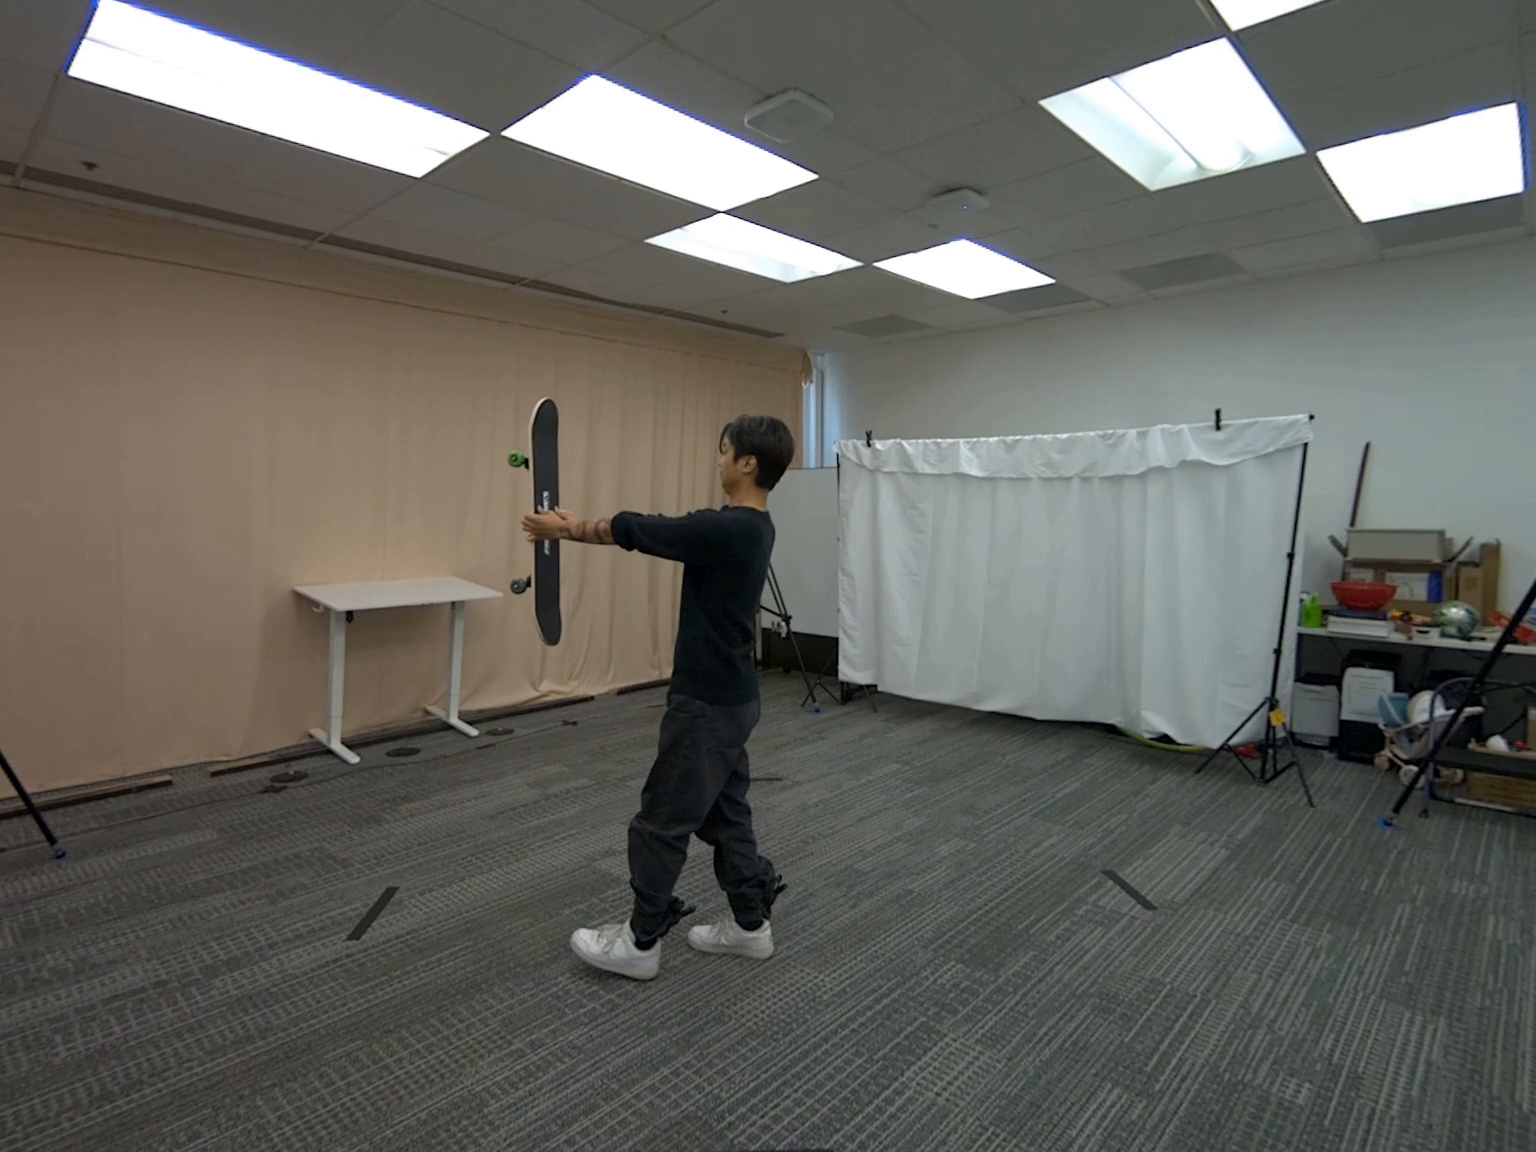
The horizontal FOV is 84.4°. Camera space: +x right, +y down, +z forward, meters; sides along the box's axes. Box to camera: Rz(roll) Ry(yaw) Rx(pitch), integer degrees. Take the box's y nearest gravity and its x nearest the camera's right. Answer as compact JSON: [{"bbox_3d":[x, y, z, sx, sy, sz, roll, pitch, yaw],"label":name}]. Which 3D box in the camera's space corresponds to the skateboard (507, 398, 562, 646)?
[{"bbox_3d":[-0.748,-0.170,2.692,0.111,0.785,0.191,0,0,9],"label":"skateboard"}]
